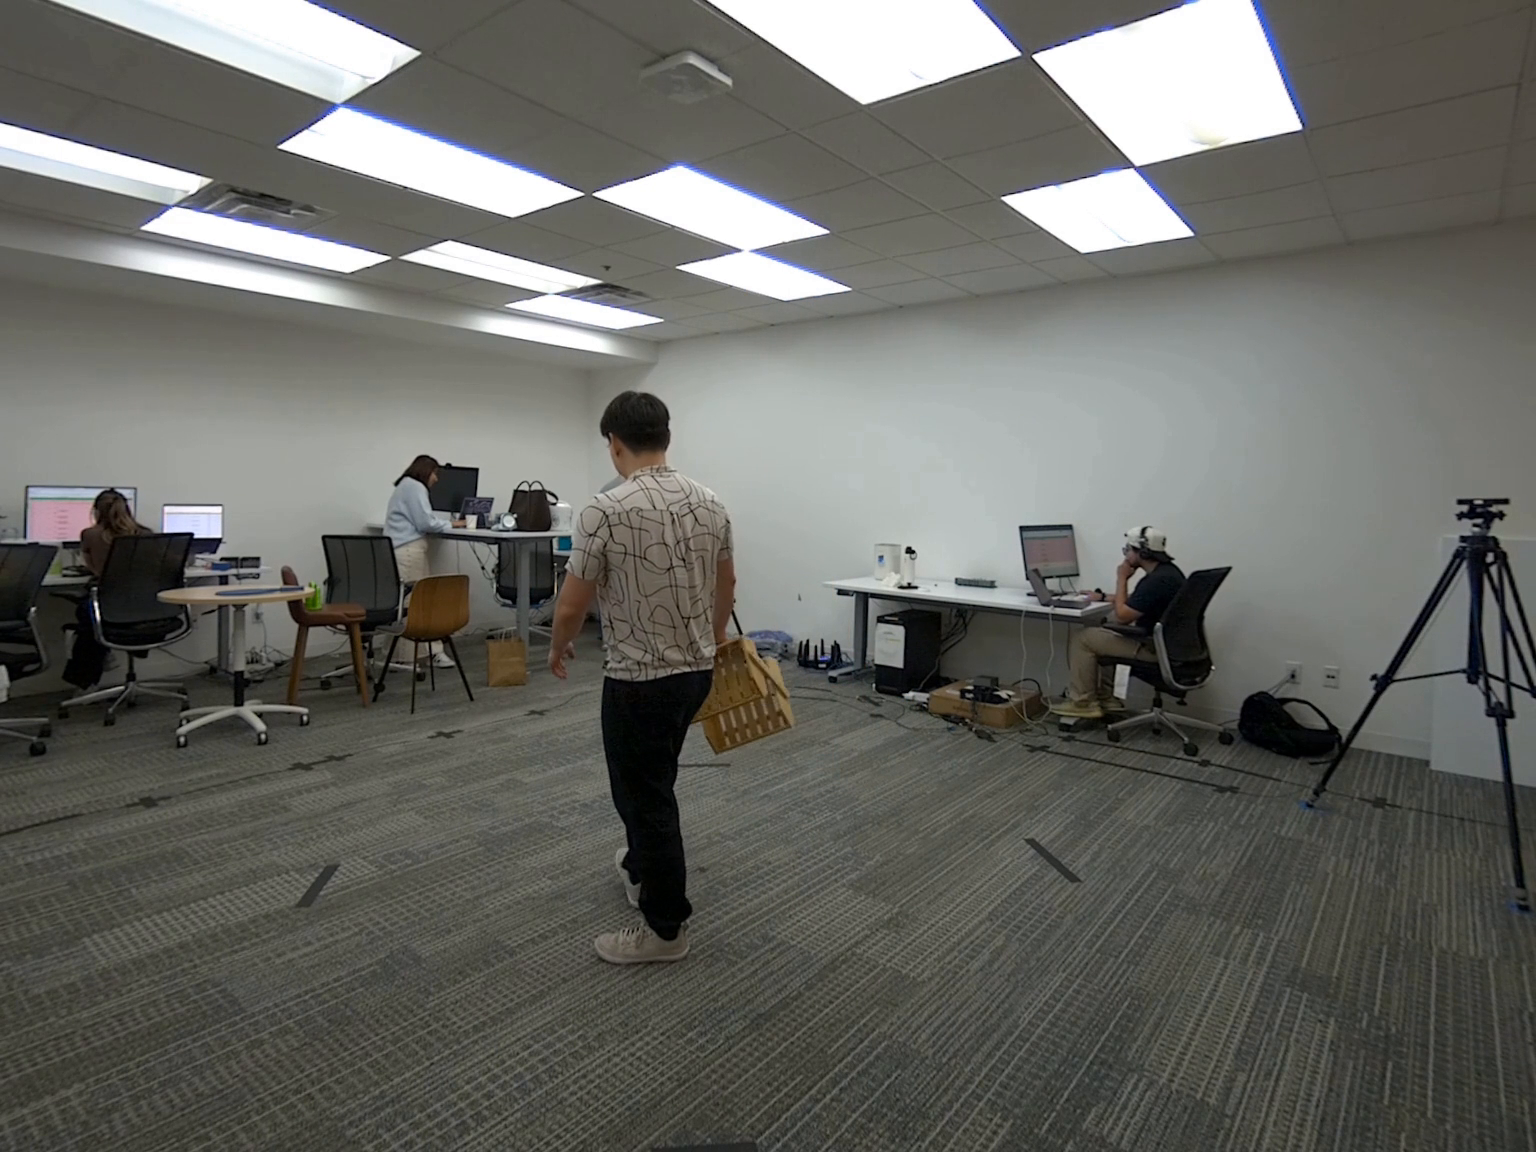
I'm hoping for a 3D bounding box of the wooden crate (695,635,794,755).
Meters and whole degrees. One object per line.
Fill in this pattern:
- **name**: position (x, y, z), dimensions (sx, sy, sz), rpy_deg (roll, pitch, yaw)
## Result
- **wooden crate**: position (-0.140, 0.410, 2.904), dimensions (0.327, 0.311, 0.263), rpy_deg (-25, -27, 17)
